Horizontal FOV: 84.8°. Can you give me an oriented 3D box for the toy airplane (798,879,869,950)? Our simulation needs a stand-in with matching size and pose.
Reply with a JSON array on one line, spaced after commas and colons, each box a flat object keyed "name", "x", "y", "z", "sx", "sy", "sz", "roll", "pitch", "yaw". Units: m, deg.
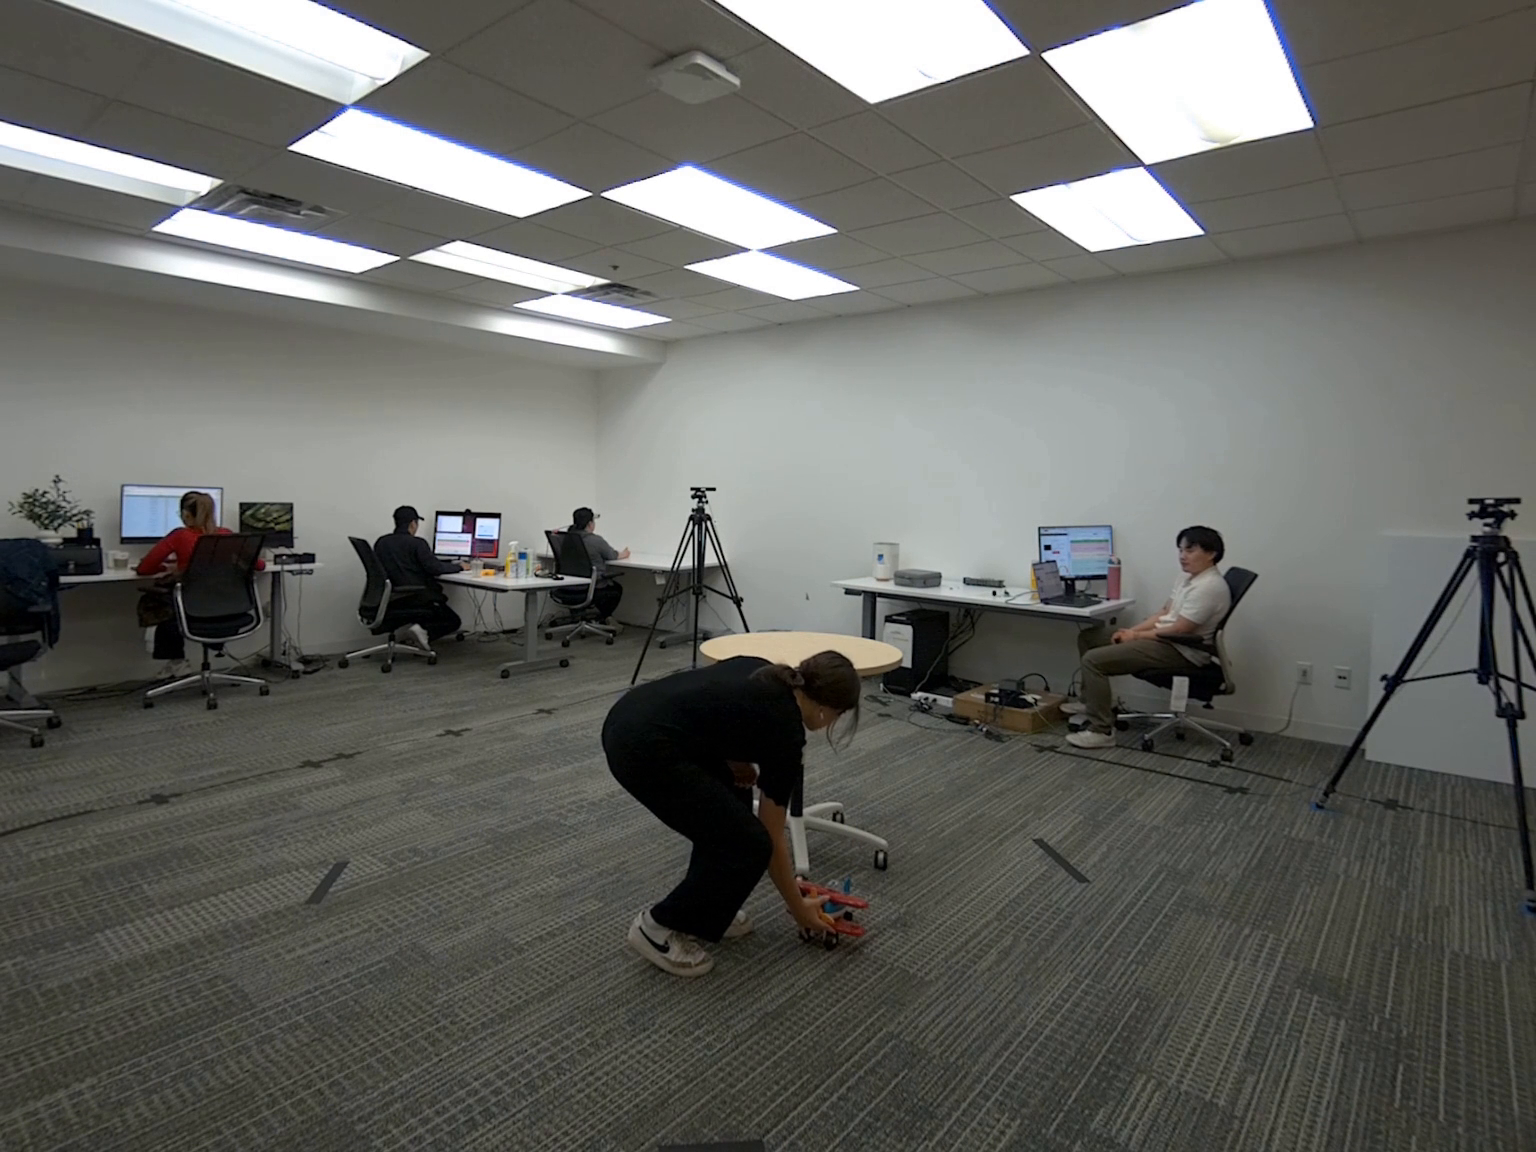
[{"name": "toy airplane", "x": 0.174, "y": 1.051, "z": 2.681, "sx": 0.252, "sy": 0.155, "sz": 0.260, "roll": 1, "pitch": 7, "yaw": 2}]
